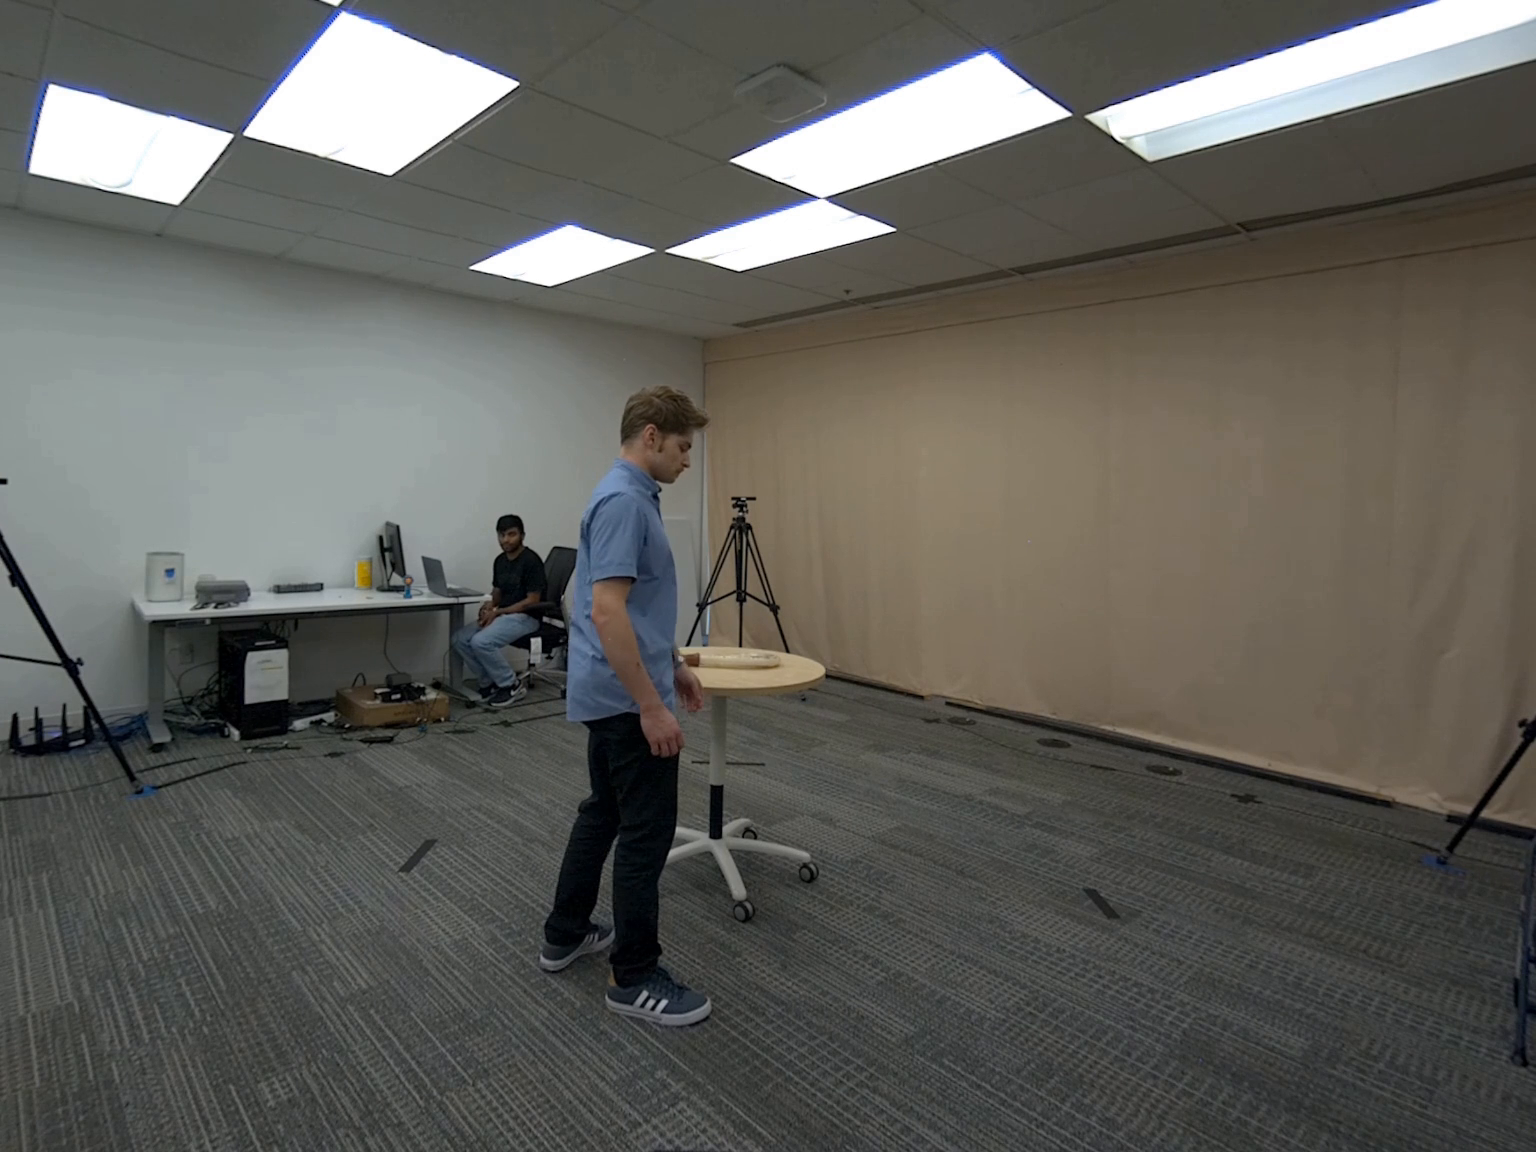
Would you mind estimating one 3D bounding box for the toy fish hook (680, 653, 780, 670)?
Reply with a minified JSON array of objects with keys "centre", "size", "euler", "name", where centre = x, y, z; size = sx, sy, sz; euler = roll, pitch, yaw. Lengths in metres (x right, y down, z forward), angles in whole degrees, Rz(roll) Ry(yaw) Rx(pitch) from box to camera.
[{"centre":[-0.206,0.311,3.086],"size":[0.503,0.048,0.225],"euler":[2,-2,-8],"name":"toy fish hook"}]
